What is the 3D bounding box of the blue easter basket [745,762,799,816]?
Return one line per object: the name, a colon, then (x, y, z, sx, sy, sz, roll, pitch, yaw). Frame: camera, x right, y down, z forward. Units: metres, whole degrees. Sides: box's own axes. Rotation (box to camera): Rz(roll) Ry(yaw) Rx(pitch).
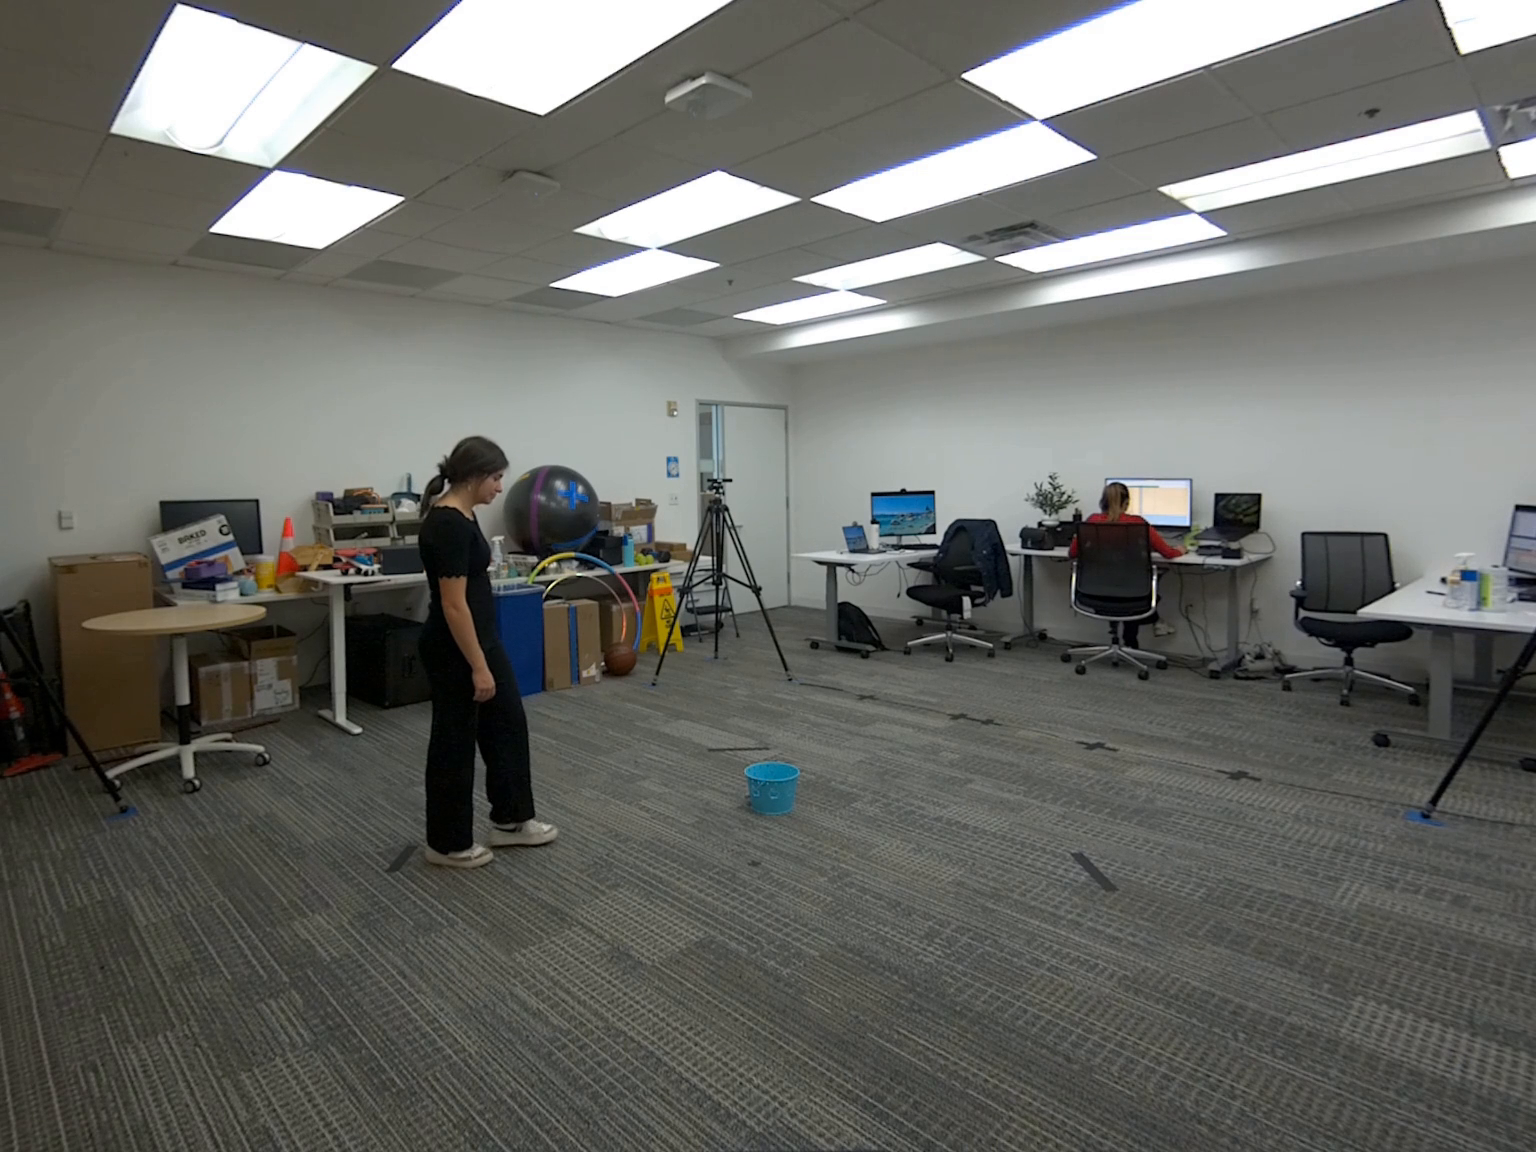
blue easter basket: (0.017, 0.904, 3.648, 0.243, 0.155, 0.245, -1, 6, -2)
